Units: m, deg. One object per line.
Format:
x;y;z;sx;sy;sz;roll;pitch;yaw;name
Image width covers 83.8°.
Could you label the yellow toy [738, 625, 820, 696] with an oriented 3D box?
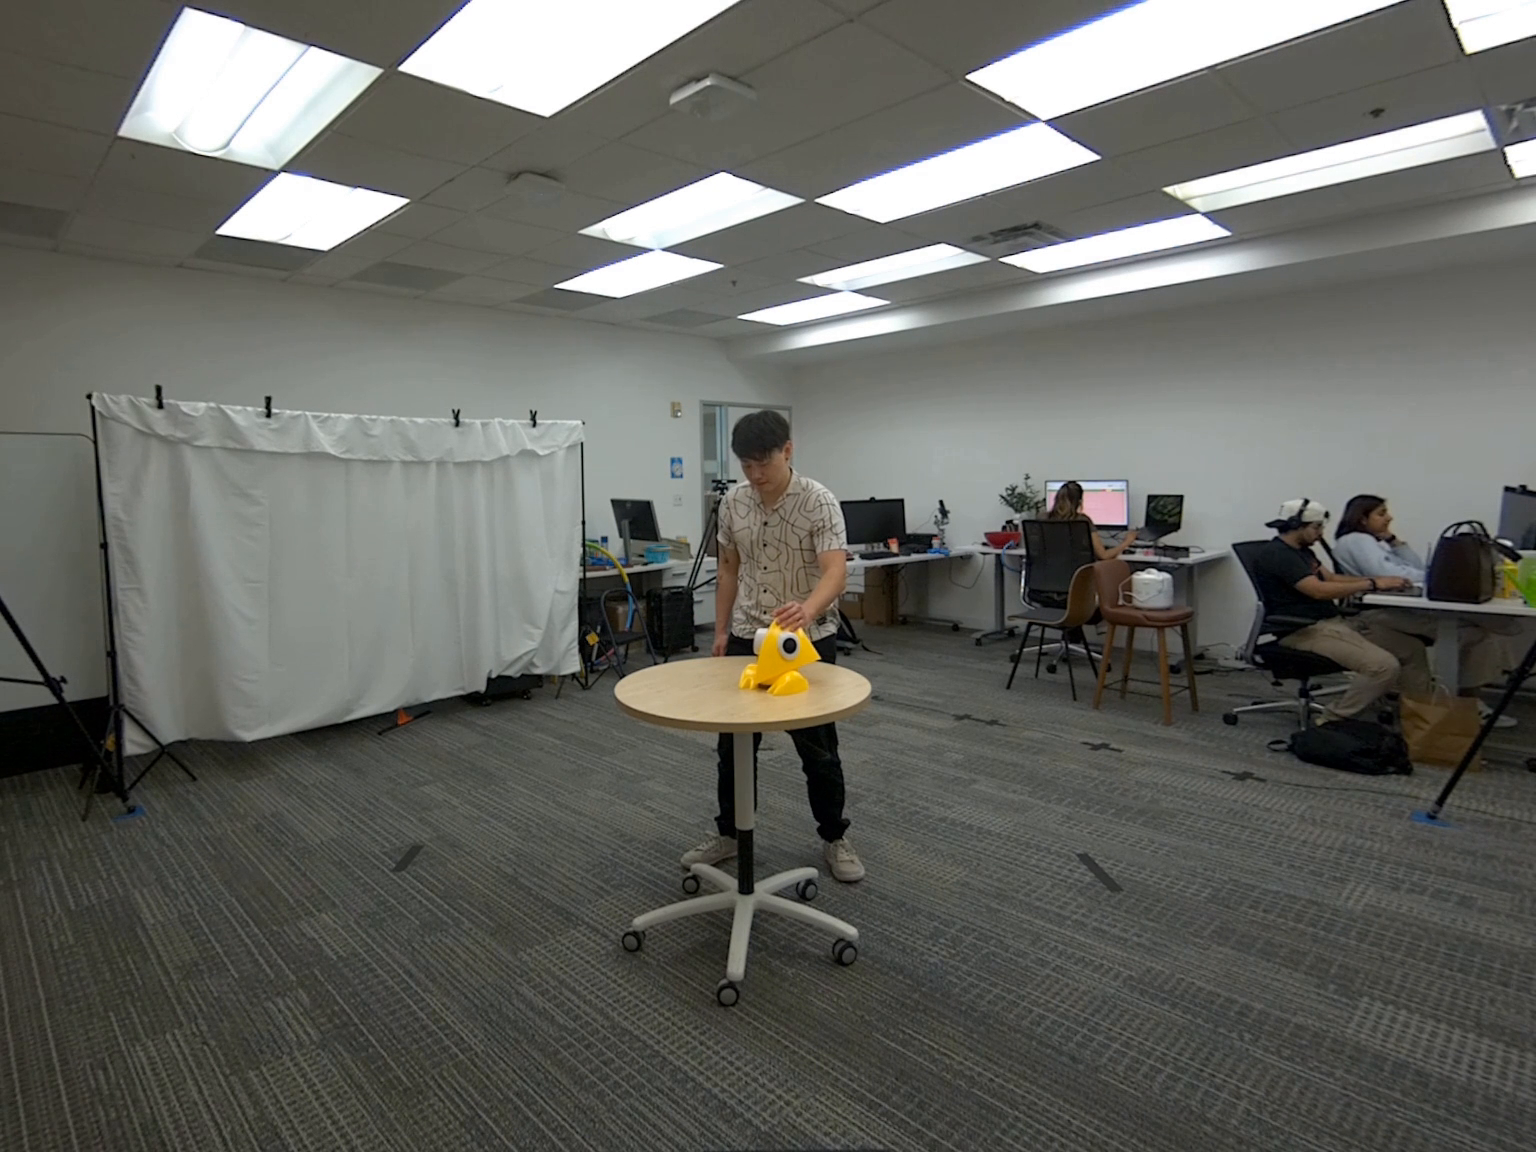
0.021;0.218;2.539;0.211;0.229;0.188;4;7;40;yellow toy
